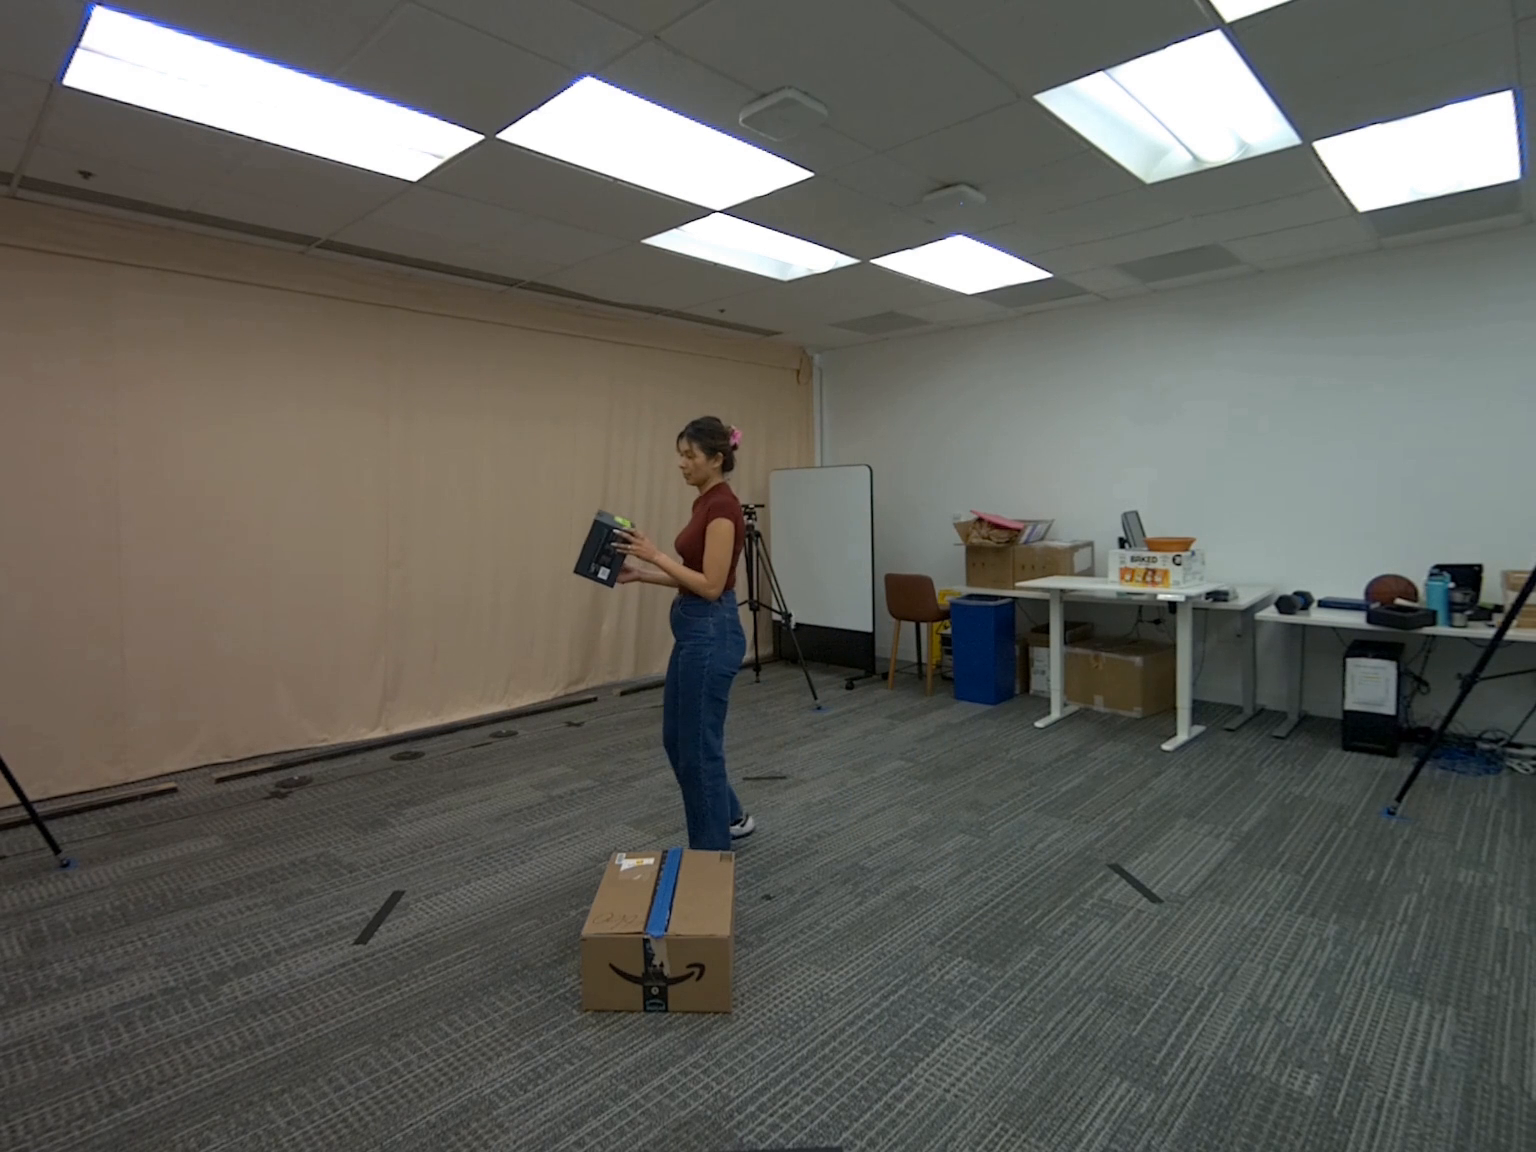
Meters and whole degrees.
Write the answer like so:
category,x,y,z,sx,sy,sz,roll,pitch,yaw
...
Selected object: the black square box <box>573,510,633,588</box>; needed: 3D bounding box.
category,x,y,z,sx,sy,sz,roll,pitch,yaw
black square box,-0.600,-0.106,3.128,0.154,0.216,0.231,19,11,-9
